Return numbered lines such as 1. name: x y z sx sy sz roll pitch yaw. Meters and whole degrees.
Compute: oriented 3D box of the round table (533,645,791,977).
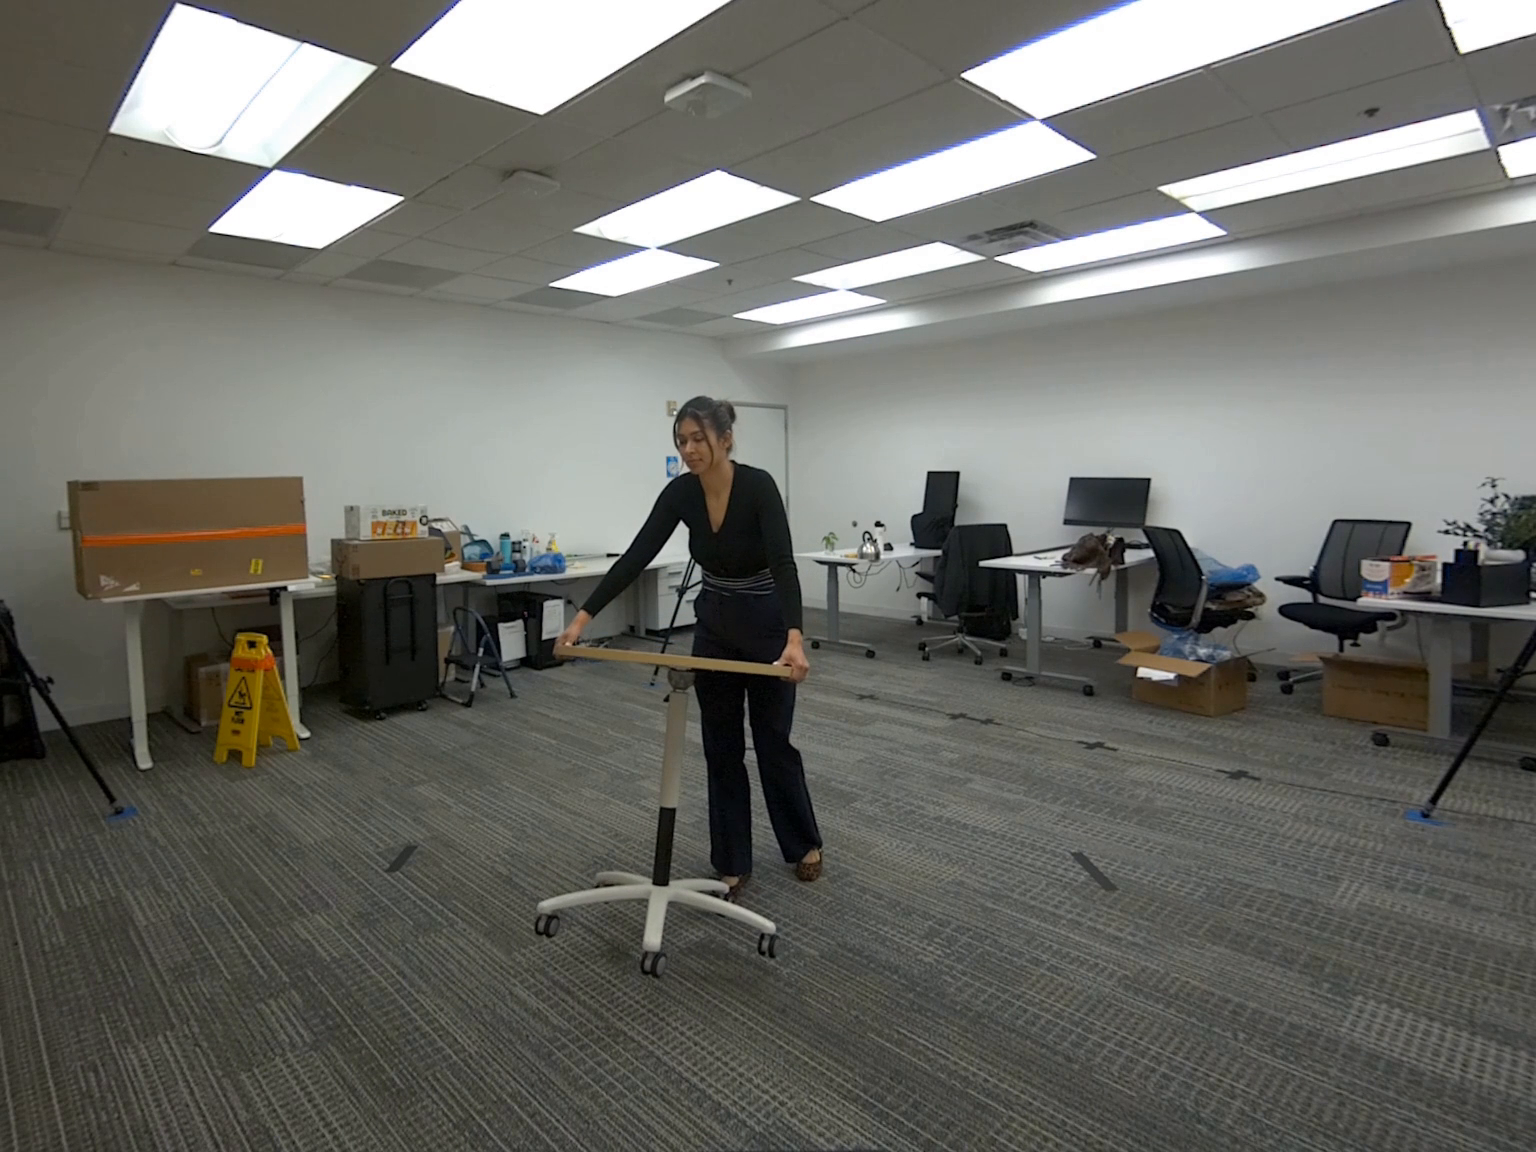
1. round table: -0.287 0.649 2.526 0.764 0.799 0.759 5 -7 -1
